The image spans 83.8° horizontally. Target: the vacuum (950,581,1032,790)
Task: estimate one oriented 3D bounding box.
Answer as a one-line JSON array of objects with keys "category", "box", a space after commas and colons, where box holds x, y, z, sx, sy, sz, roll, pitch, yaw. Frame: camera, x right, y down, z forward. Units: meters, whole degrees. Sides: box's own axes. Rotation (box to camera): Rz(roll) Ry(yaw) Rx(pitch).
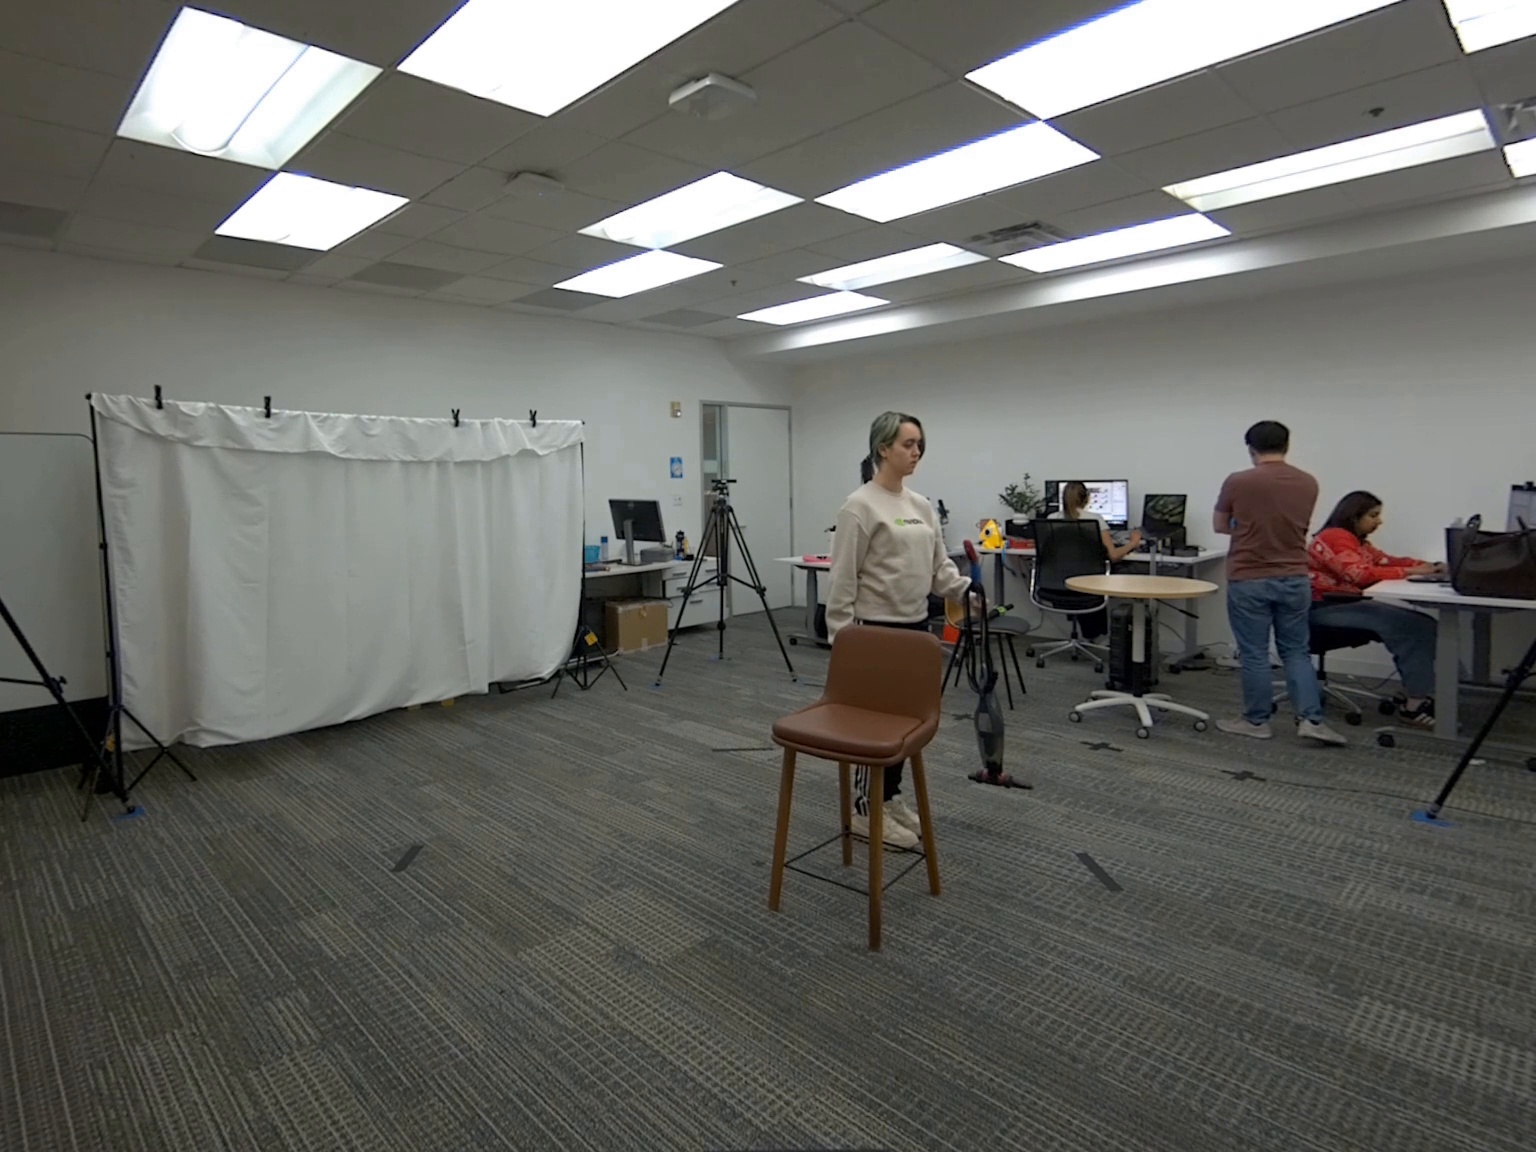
[{"category": "vacuum", "box": [0.818, 0.354, 3.242, 0.259, 1.027, 0.143, 1, 24, 30]}]
